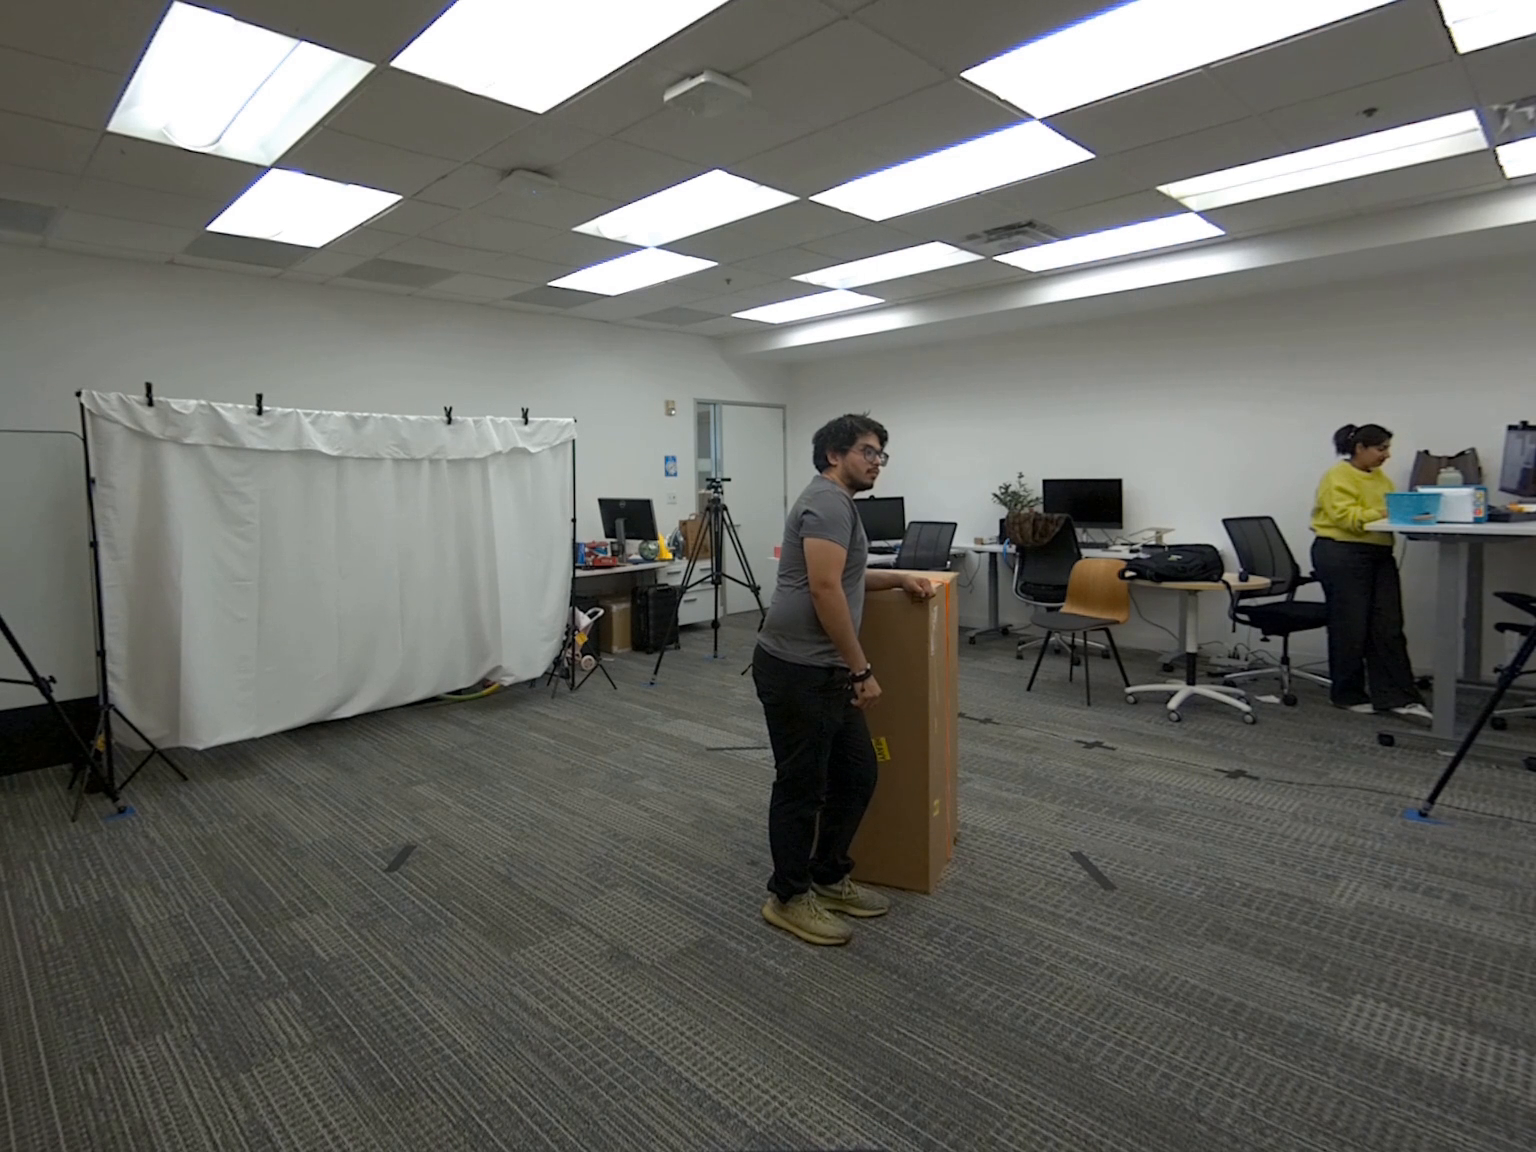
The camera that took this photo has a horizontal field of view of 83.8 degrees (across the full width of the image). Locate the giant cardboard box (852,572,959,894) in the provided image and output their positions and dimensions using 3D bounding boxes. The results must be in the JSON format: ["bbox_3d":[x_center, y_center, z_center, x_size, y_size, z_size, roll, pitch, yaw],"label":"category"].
[{"bbox_3d":[0.454,0.519,3.165,0.436,1.022,0.567,1,4,24],"label":"giant cardboard box"}]
